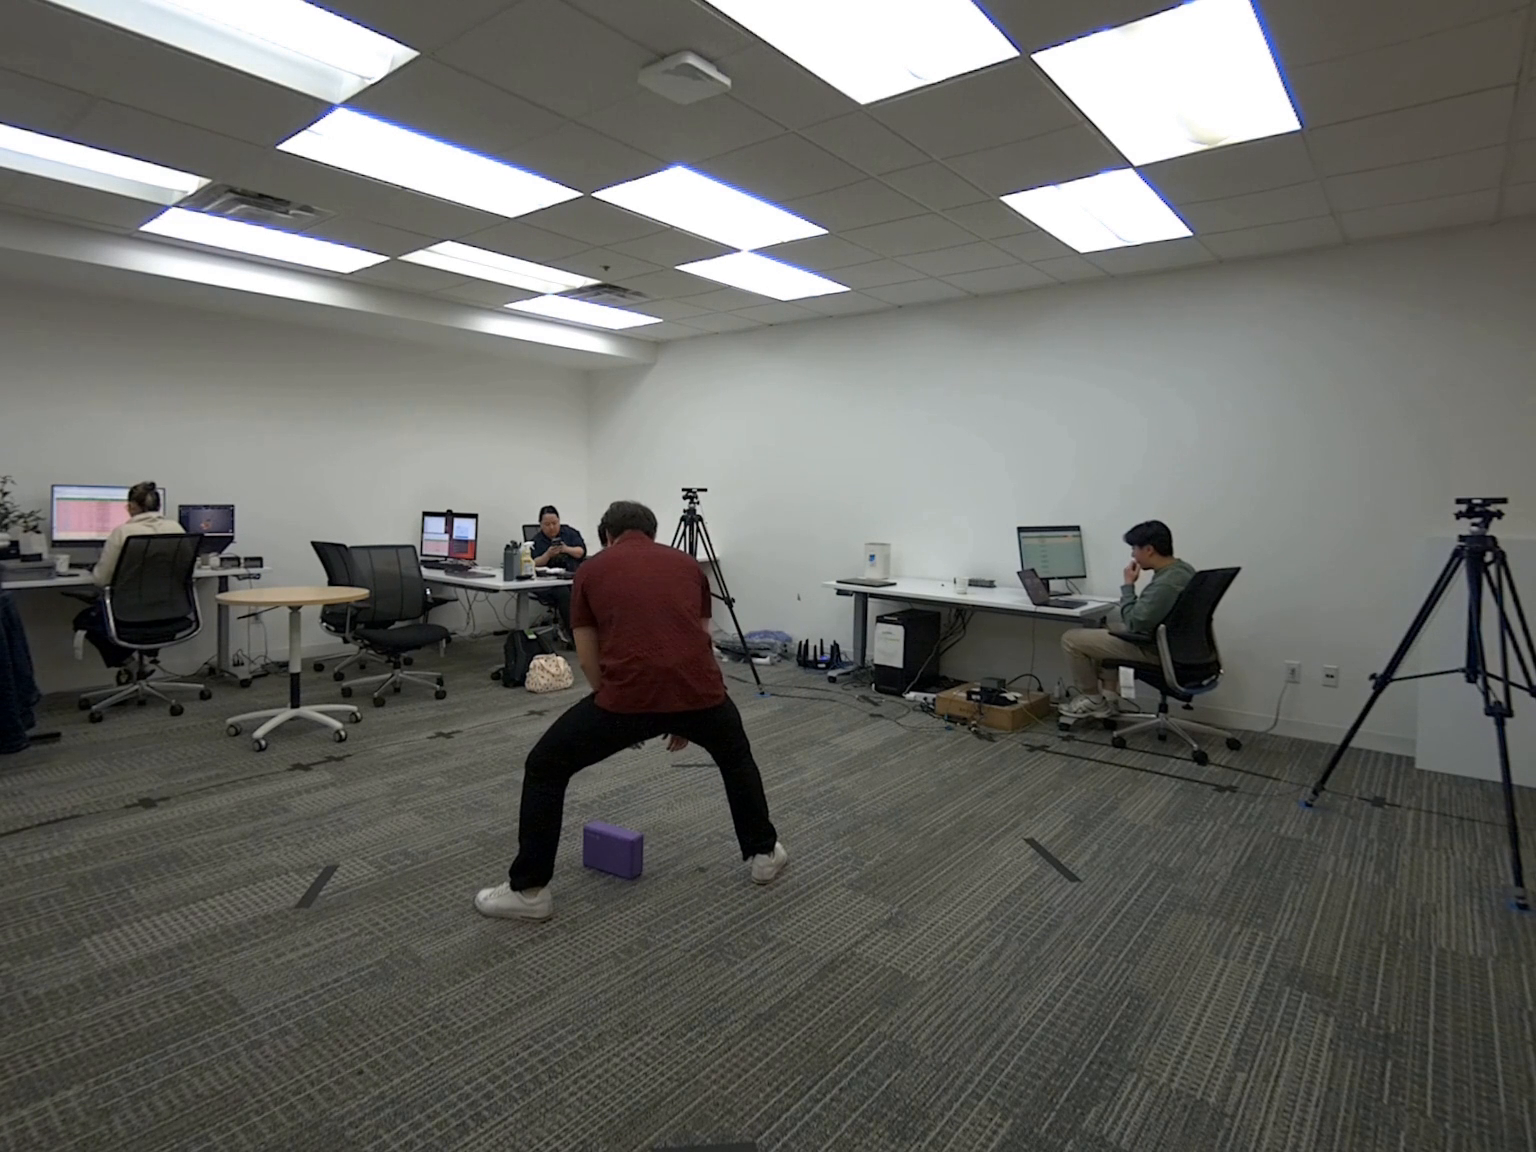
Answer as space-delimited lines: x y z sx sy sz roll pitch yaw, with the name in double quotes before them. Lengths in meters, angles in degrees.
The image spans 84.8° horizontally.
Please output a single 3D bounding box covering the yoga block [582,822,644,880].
"yoga block" -0.579 0.989 3.090 0.236 0.149 0.074 2 3 30
